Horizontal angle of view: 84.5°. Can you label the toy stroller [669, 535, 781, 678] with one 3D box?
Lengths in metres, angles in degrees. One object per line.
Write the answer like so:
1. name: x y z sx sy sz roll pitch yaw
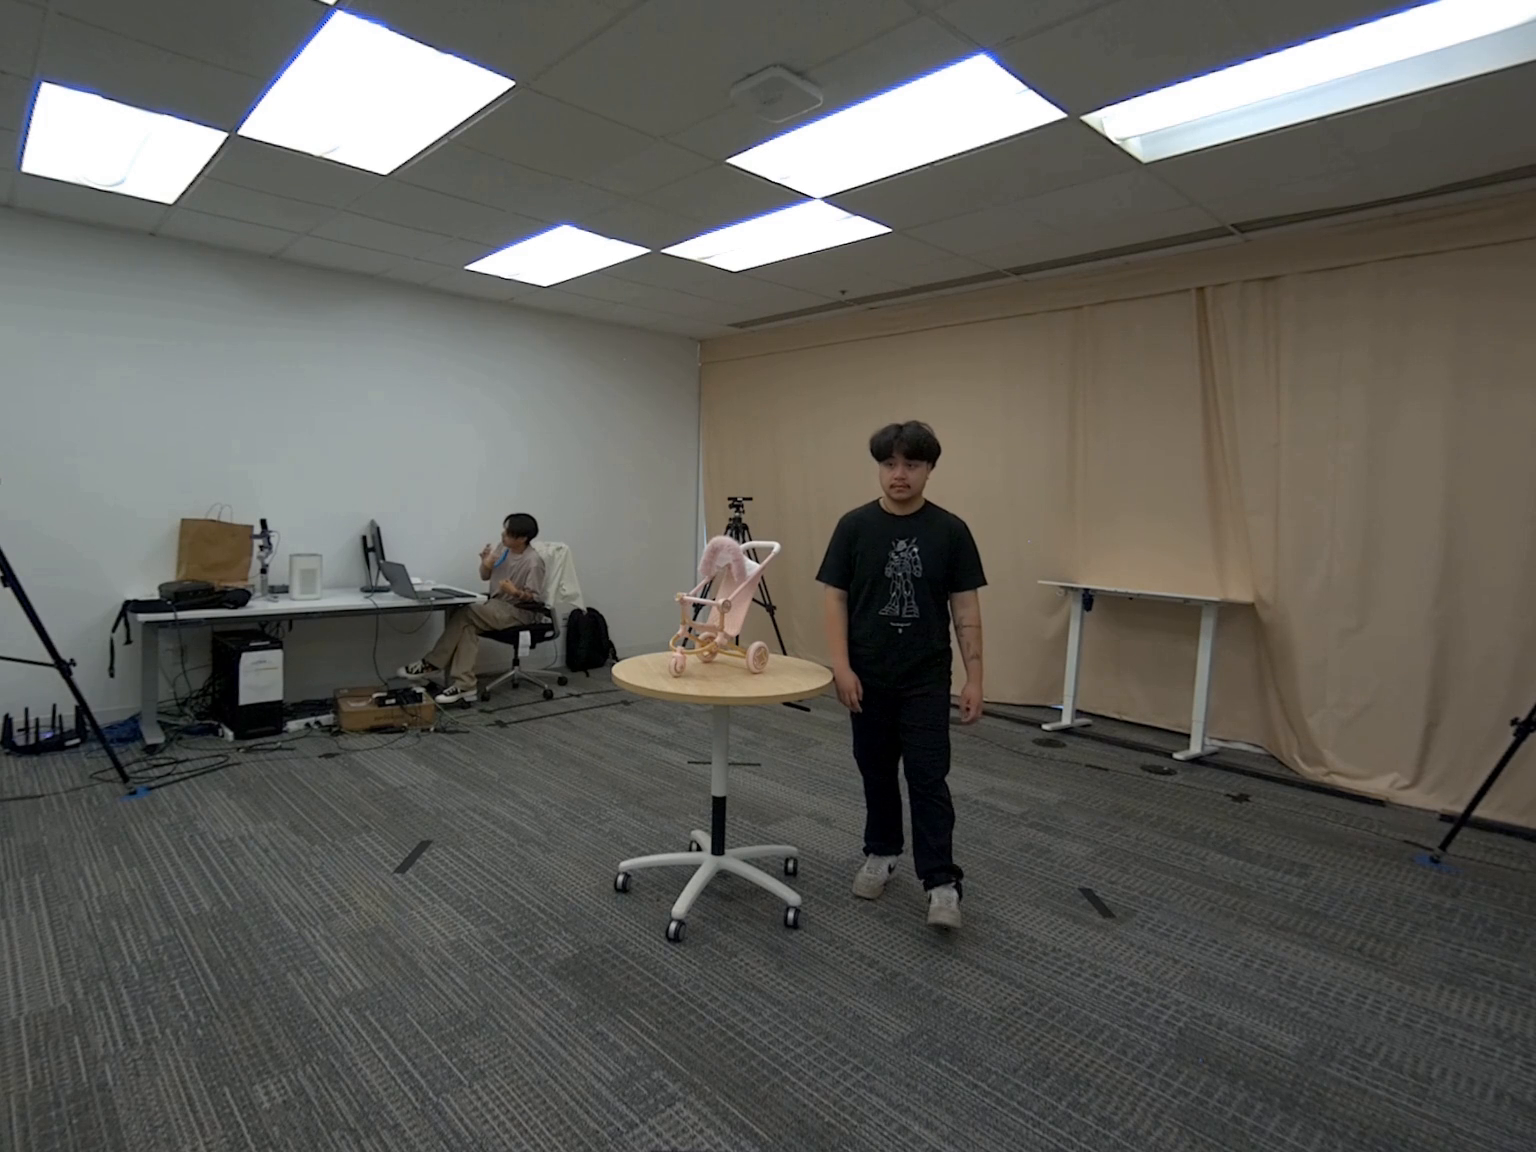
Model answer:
1. toy stroller: -0.174 0.102 2.930 0.331 0.537 0.288 18 -9 -42
